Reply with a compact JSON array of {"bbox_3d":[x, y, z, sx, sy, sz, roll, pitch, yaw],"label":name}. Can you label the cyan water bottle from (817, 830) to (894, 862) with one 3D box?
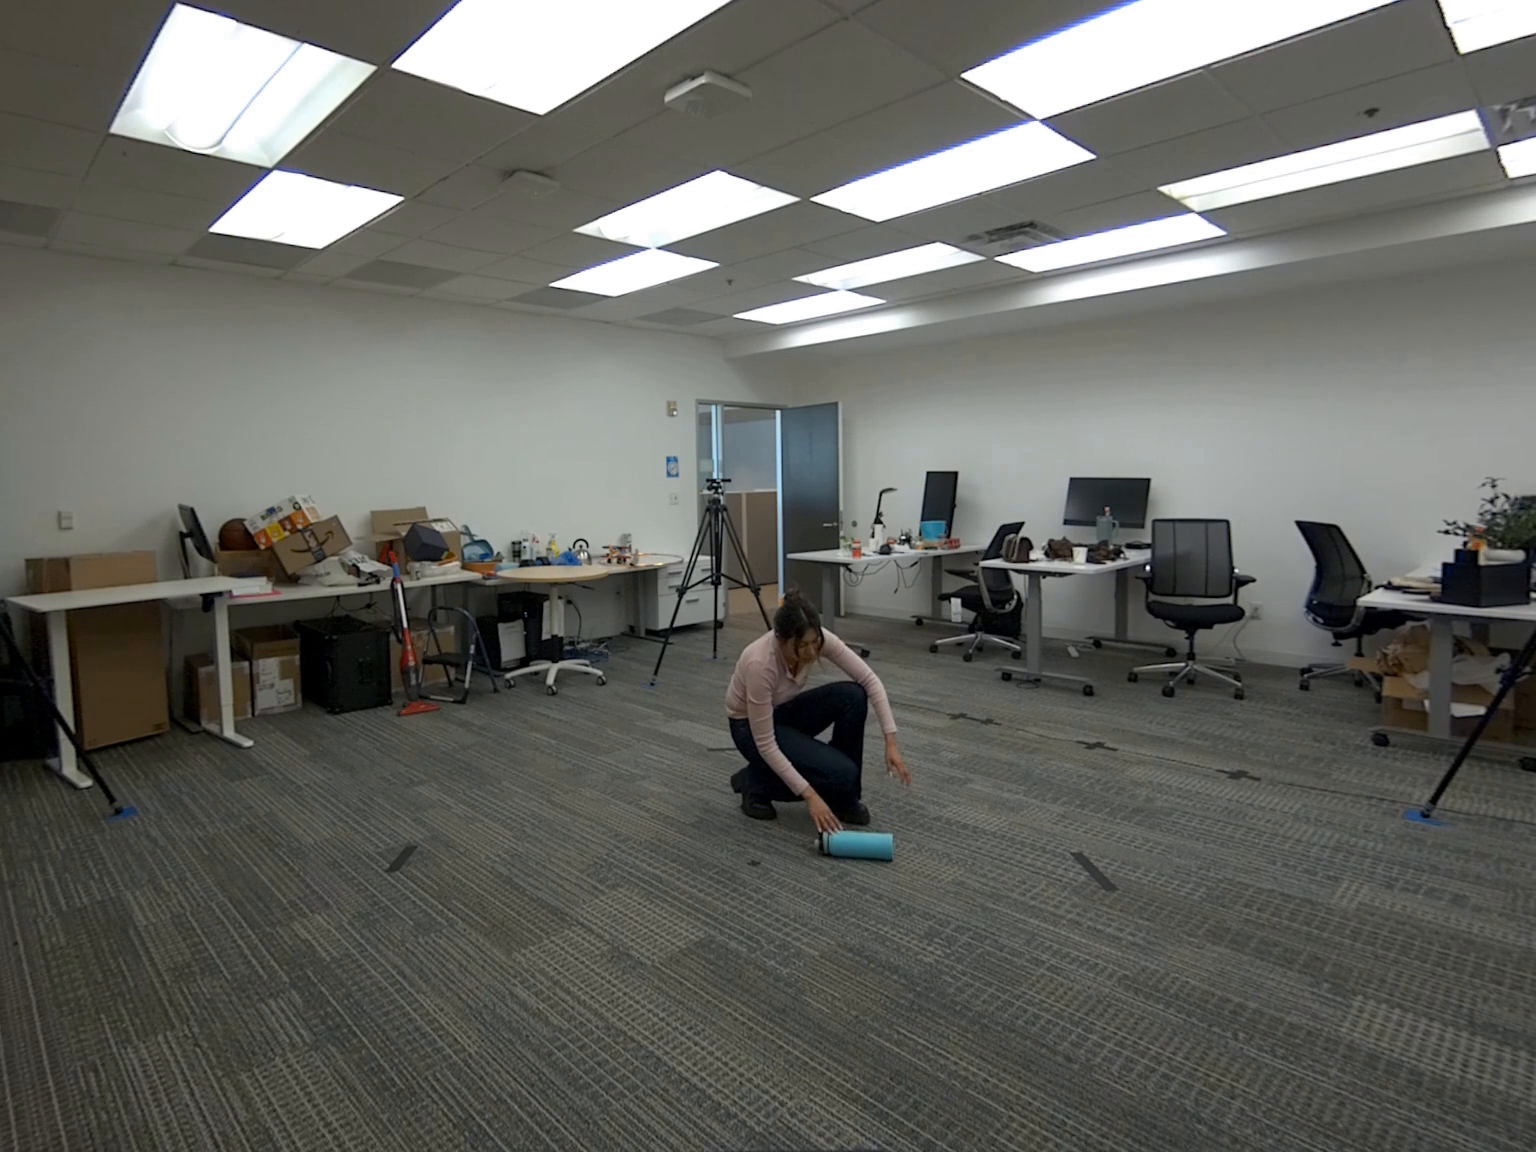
[{"bbox_3d":[0.327,0.995,3.150,0.287,0.092,0.091,-1,5,13],"label":"cyan water bottle"}]
